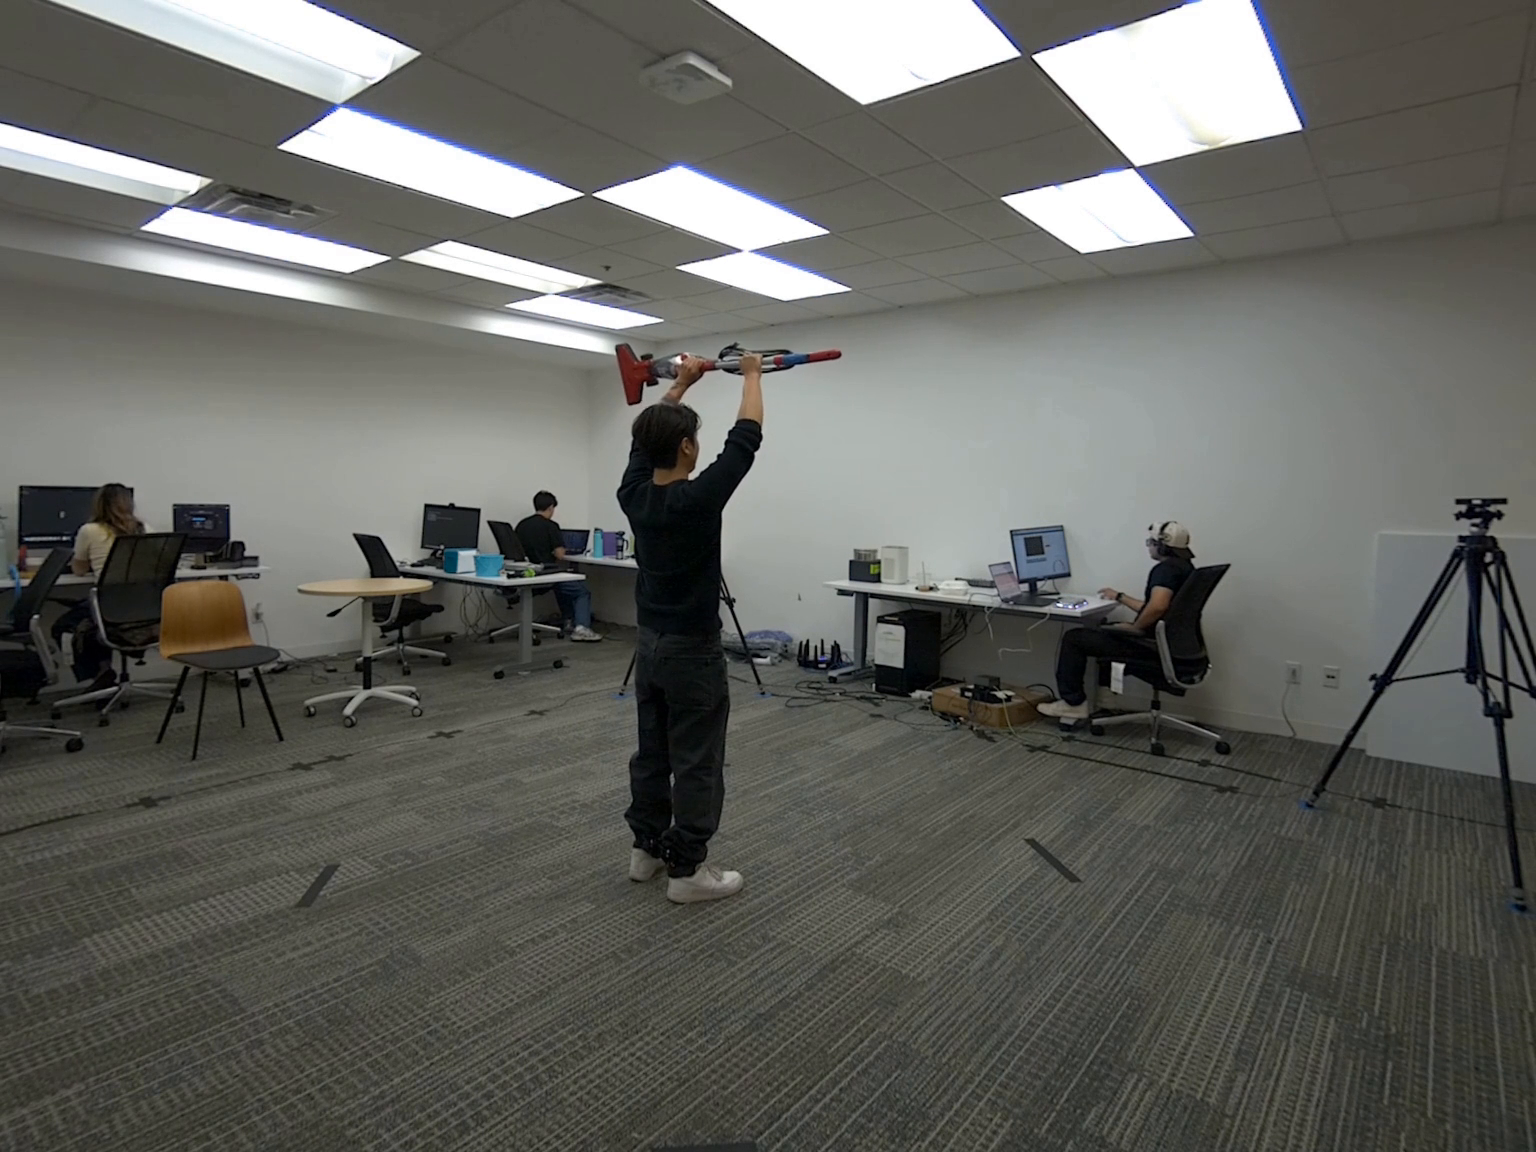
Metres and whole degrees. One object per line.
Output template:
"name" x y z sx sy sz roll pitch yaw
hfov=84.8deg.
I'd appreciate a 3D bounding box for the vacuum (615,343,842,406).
"vacuum" -0.171 -0.786 3.148 1.087 0.247 0.142 8 27 43
